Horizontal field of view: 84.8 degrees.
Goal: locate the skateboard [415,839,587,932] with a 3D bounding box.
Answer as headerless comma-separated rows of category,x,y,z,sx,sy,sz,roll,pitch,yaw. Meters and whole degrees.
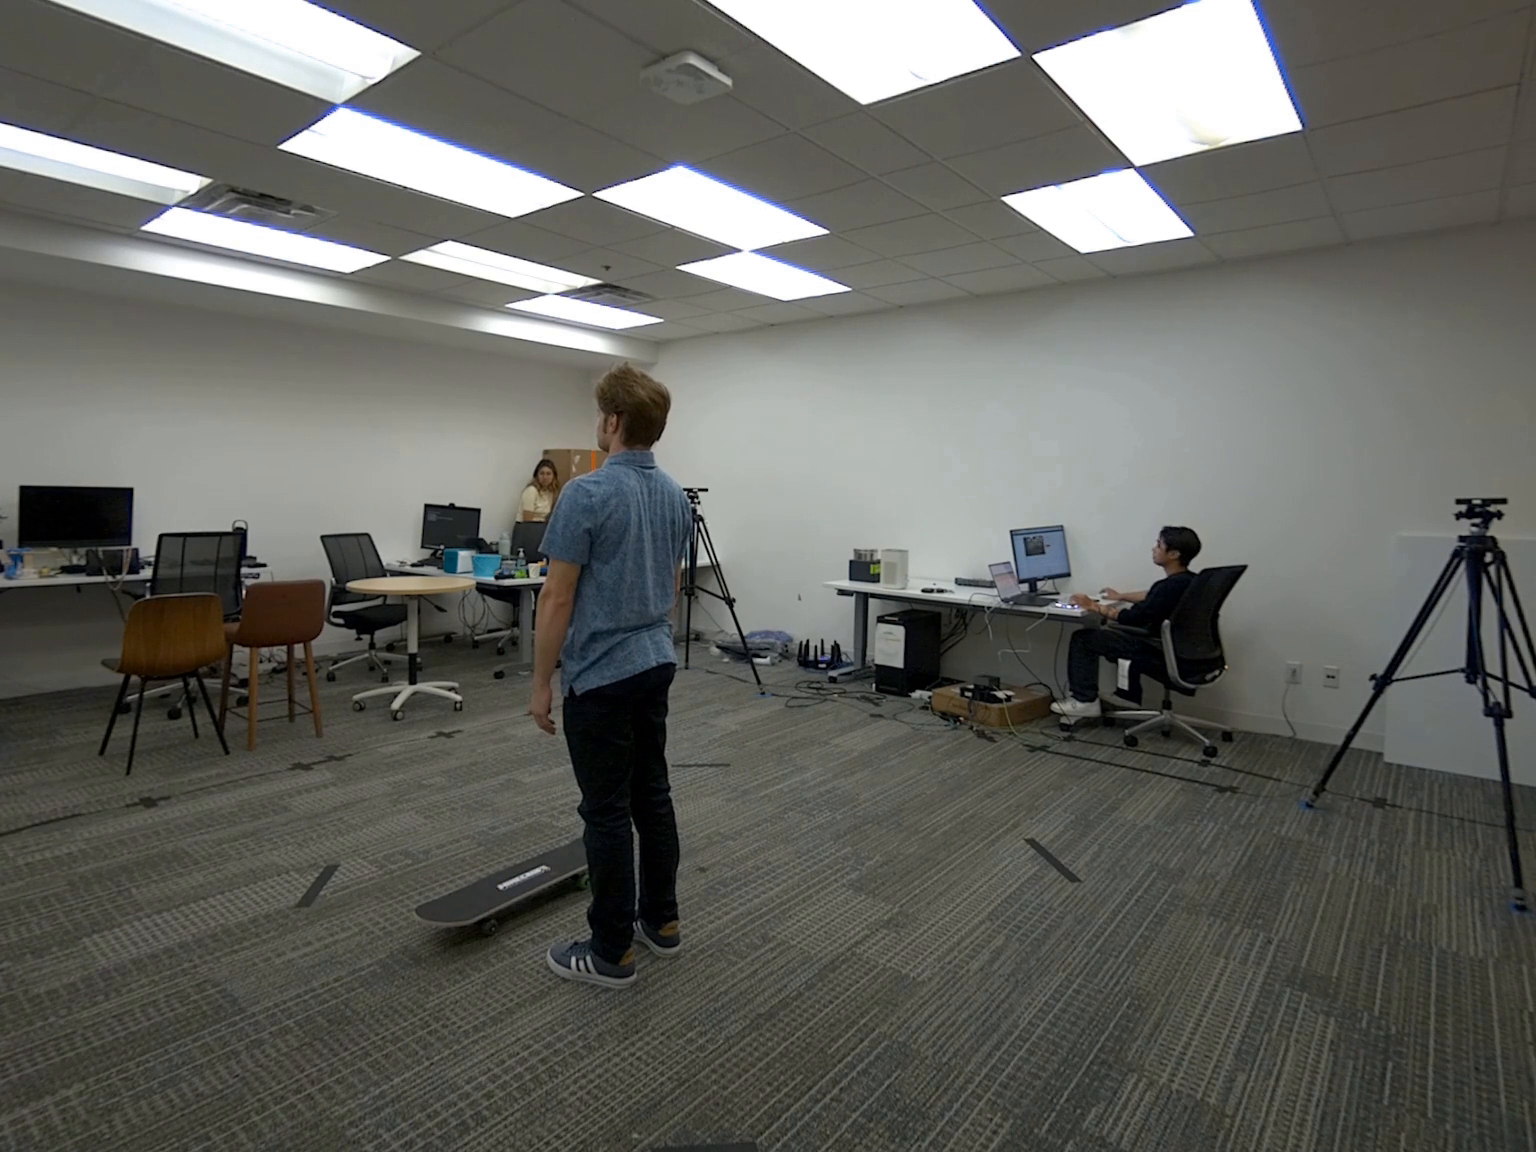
skateboard,-0.818,1.033,2.827,0.200,0.110,0.763,5,7,35
